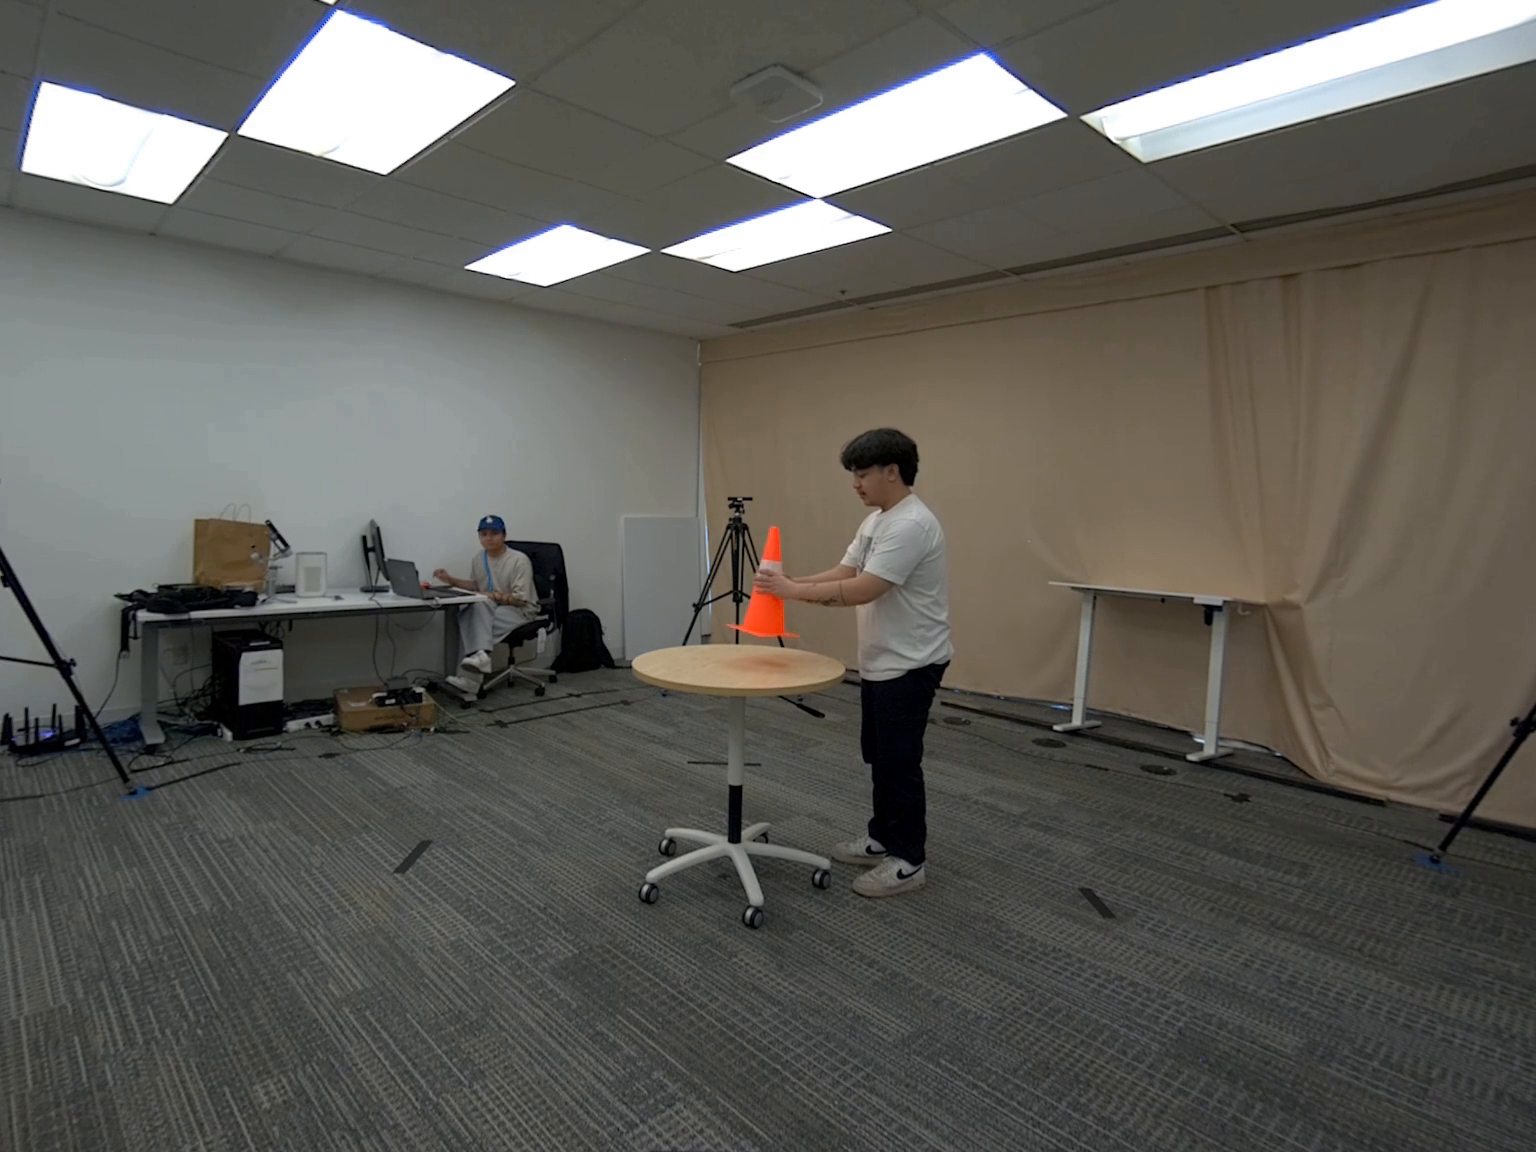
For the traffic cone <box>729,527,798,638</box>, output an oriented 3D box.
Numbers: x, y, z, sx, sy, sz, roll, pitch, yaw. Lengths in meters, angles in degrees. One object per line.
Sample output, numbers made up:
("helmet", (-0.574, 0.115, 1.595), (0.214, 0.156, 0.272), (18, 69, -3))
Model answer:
("traffic cone", (0.013, 0.018, 3.043), (0.209, 0.383, 0.200), (11, 5, 36))
